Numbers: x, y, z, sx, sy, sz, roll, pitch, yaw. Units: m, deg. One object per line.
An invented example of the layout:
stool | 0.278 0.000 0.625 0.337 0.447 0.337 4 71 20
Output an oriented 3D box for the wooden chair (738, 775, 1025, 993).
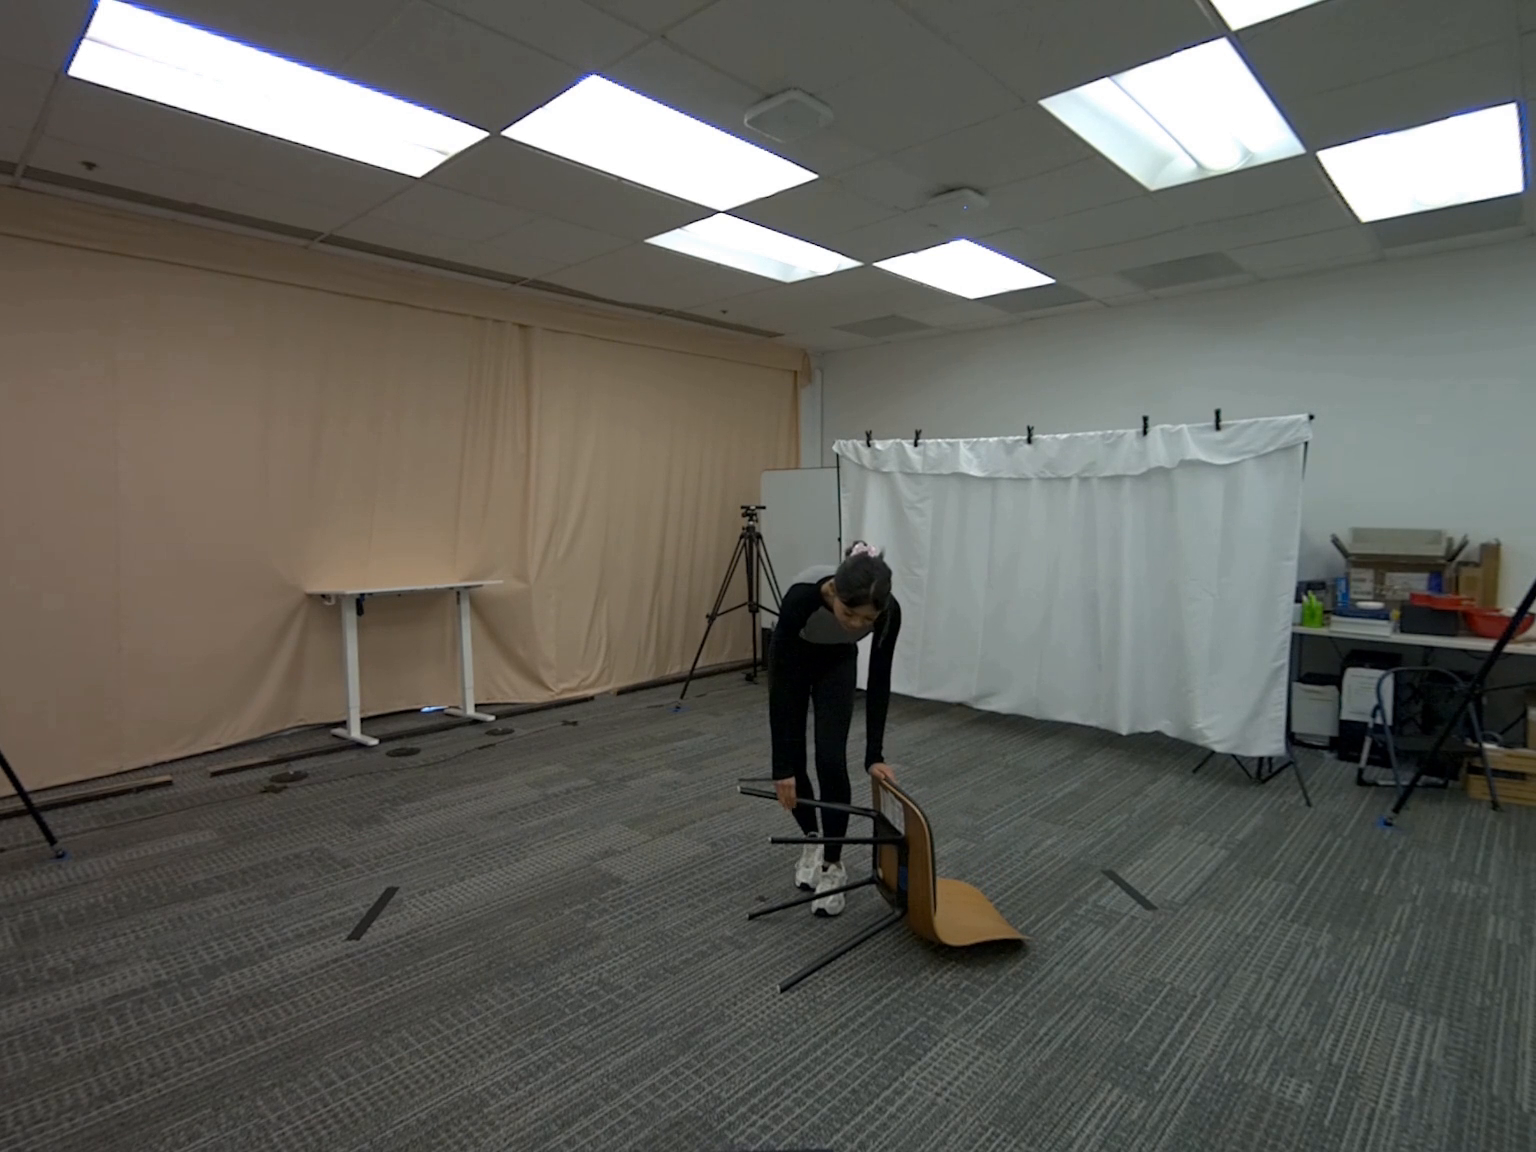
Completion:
wooden chair | 0.387 0.909 2.672 0.868 0.522 0.485 0 4 -11
